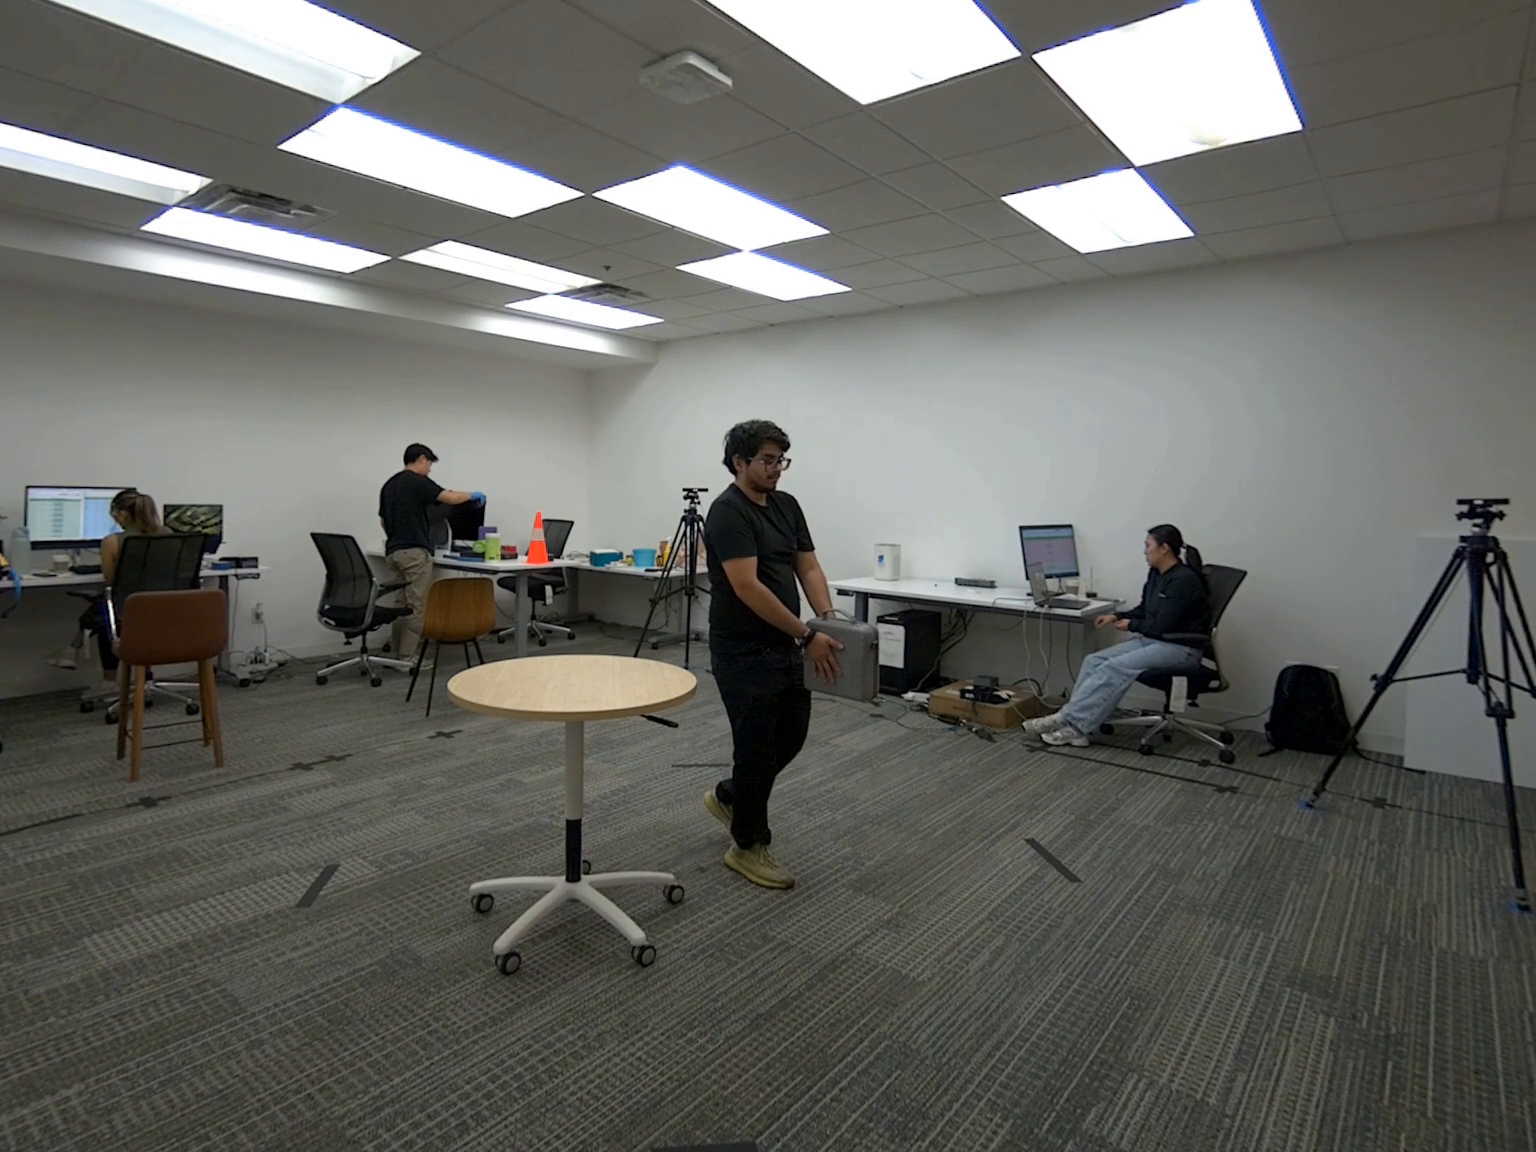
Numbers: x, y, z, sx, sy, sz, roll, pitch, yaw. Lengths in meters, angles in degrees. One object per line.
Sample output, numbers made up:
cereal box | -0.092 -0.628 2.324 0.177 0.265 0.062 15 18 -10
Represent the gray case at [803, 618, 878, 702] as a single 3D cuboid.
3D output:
gray case | 0.240 0.273 2.853 0.266 0.259 0.101 6 8 39
